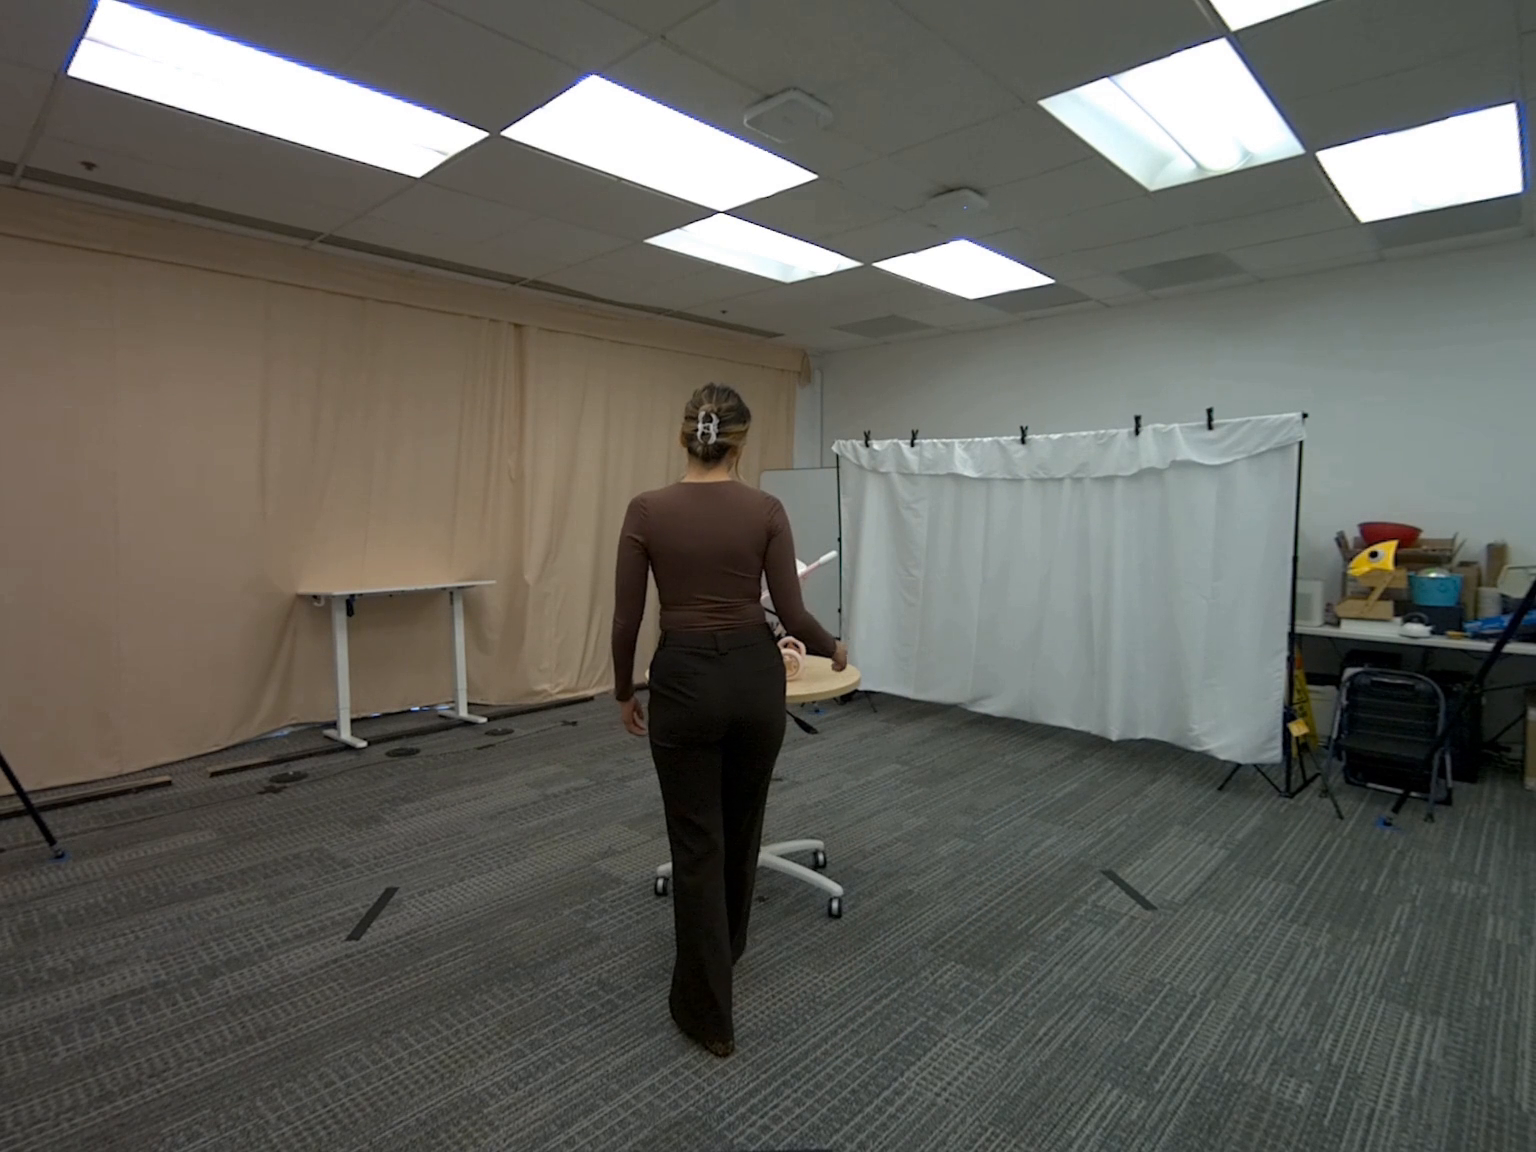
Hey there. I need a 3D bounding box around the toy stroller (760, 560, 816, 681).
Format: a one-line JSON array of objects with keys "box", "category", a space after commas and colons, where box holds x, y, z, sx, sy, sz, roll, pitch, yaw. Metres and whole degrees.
[{"box": [0.007, 0.121, 2.979, 0.346, 0.534, 0.278, 17, 6, 10], "category": "toy stroller"}]
